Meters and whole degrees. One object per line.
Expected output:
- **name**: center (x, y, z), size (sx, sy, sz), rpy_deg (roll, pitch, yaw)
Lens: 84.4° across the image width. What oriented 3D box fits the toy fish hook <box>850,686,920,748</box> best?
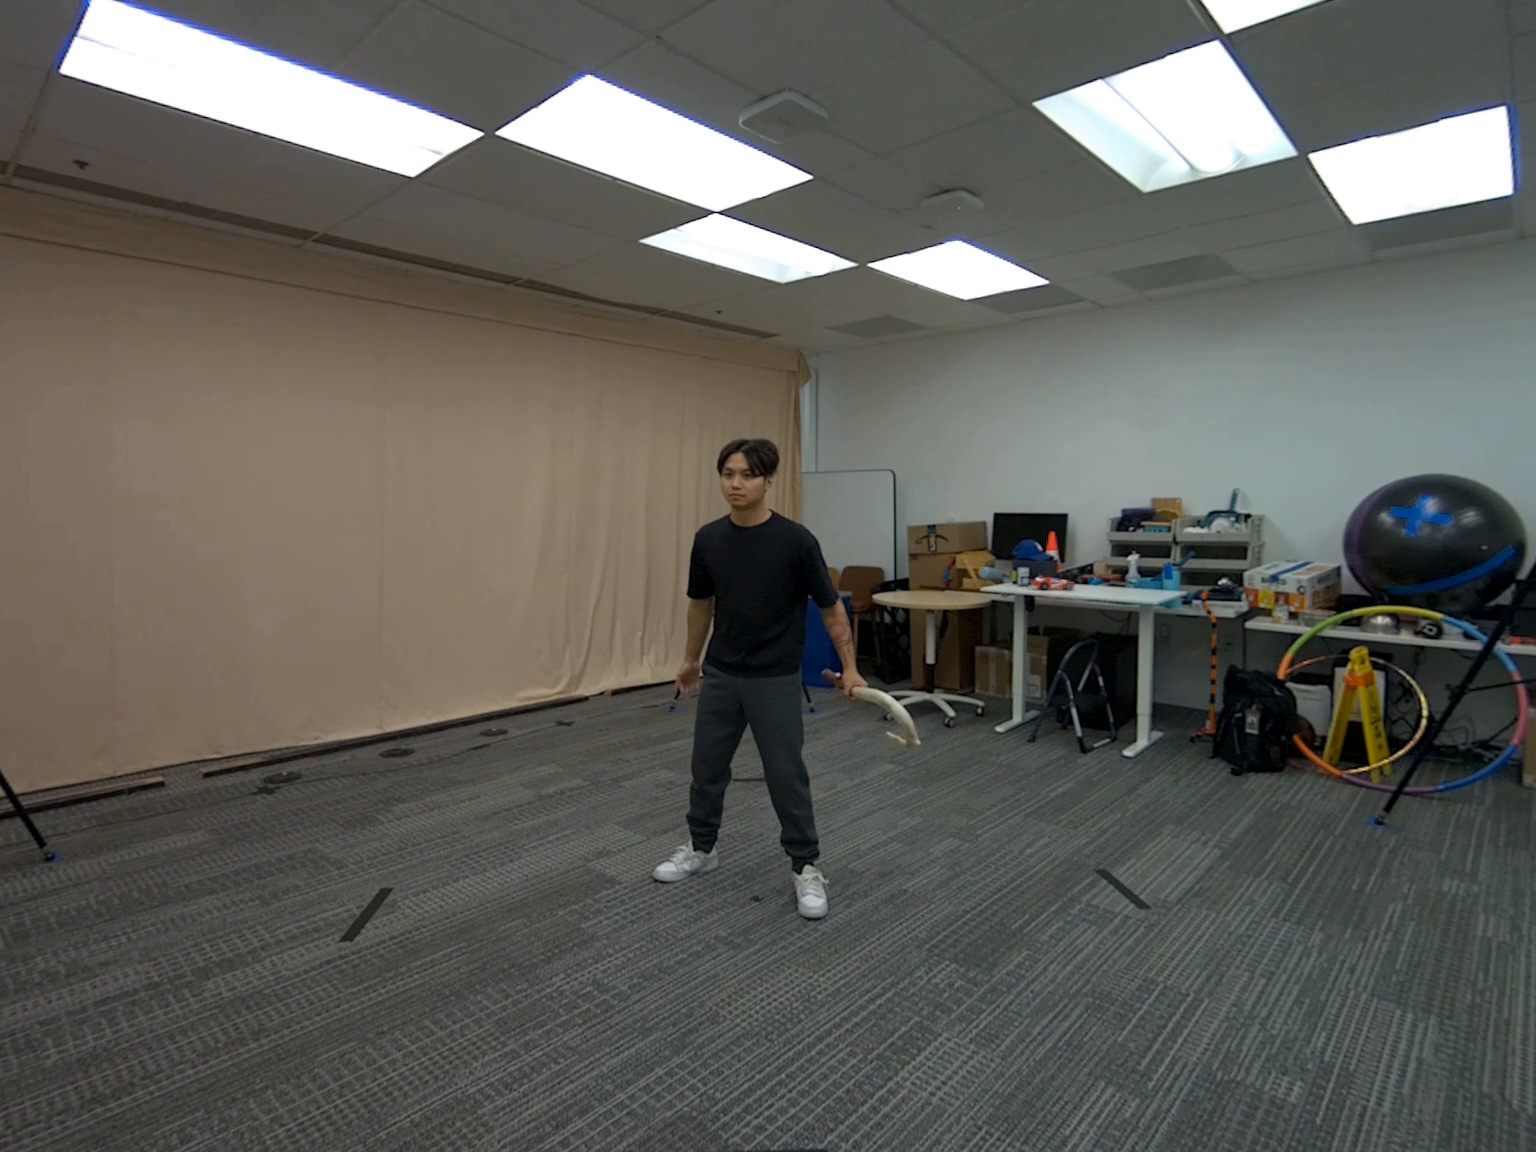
- **toy fish hook**: center (0.340, 0.450, 2.859), size (0.048, 0.221, 0.521), rpy_deg (-26, 19, -18)
